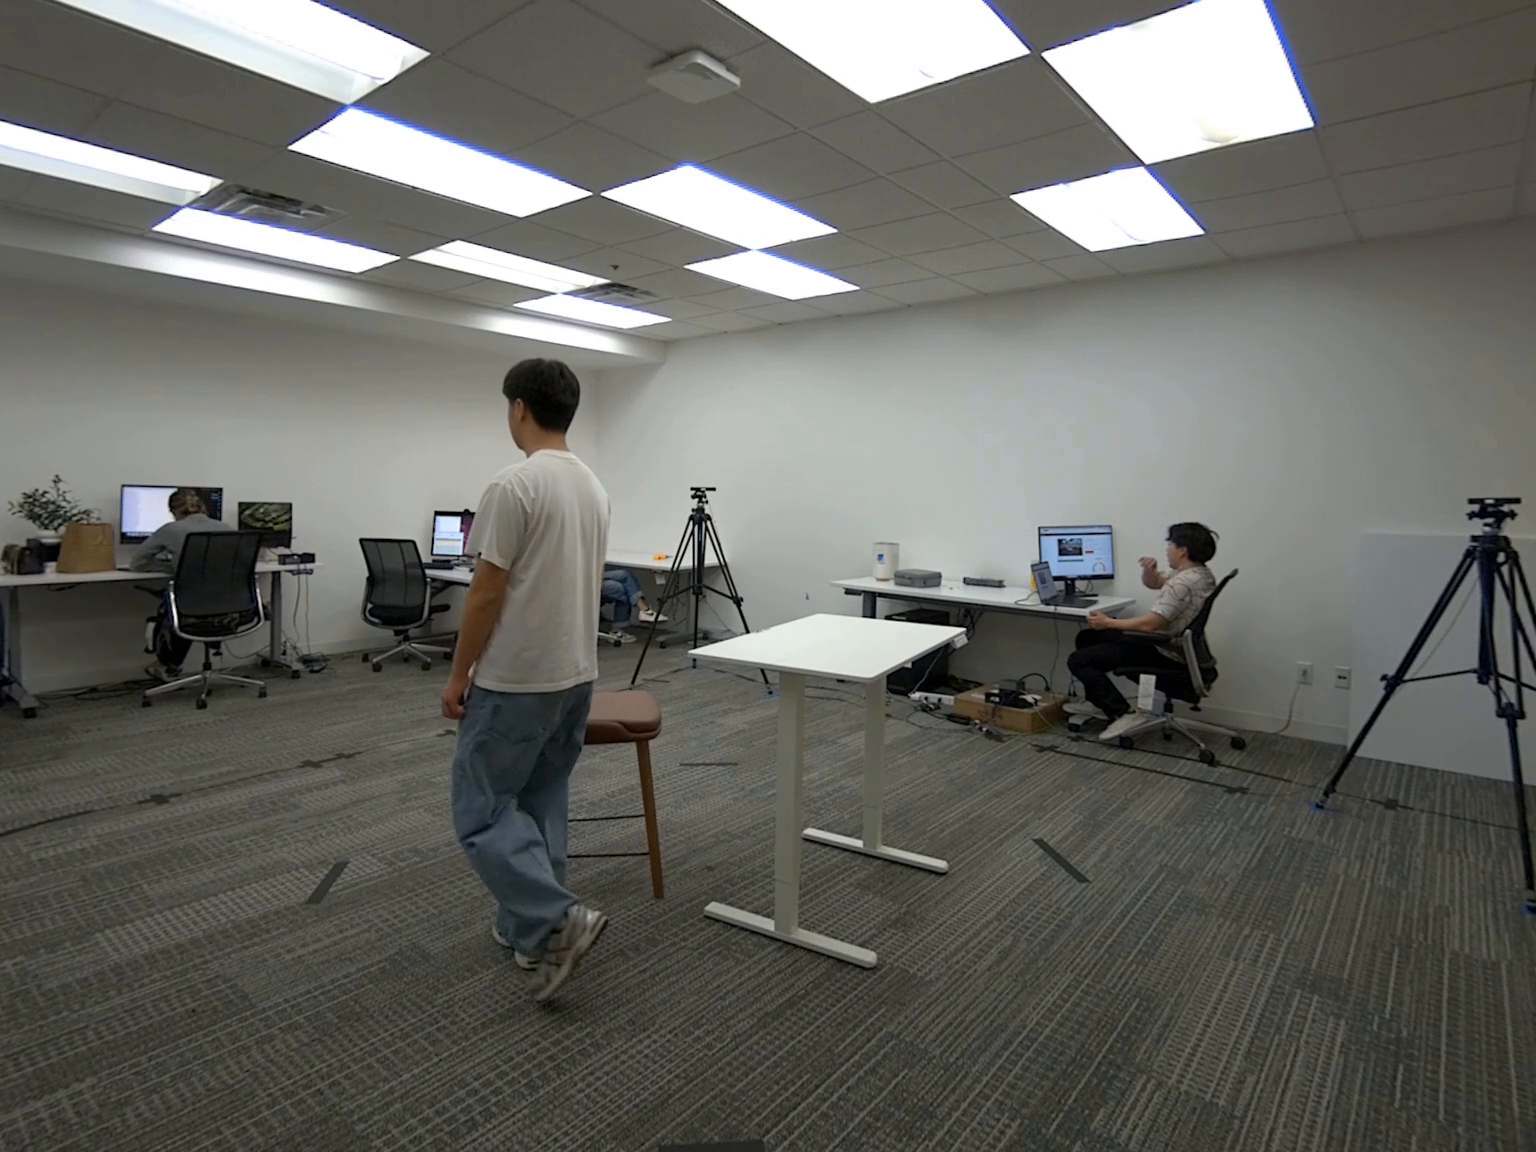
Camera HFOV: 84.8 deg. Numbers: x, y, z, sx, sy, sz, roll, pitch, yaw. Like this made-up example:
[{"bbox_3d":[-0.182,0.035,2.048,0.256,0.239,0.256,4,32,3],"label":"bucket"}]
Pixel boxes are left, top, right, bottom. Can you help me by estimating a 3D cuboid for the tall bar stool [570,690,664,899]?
[{"bbox_3d":[-0.617,0.635,3.019,0.463,0.888,0.462,-2,3,-10],"label":"tall bar stool"}]
